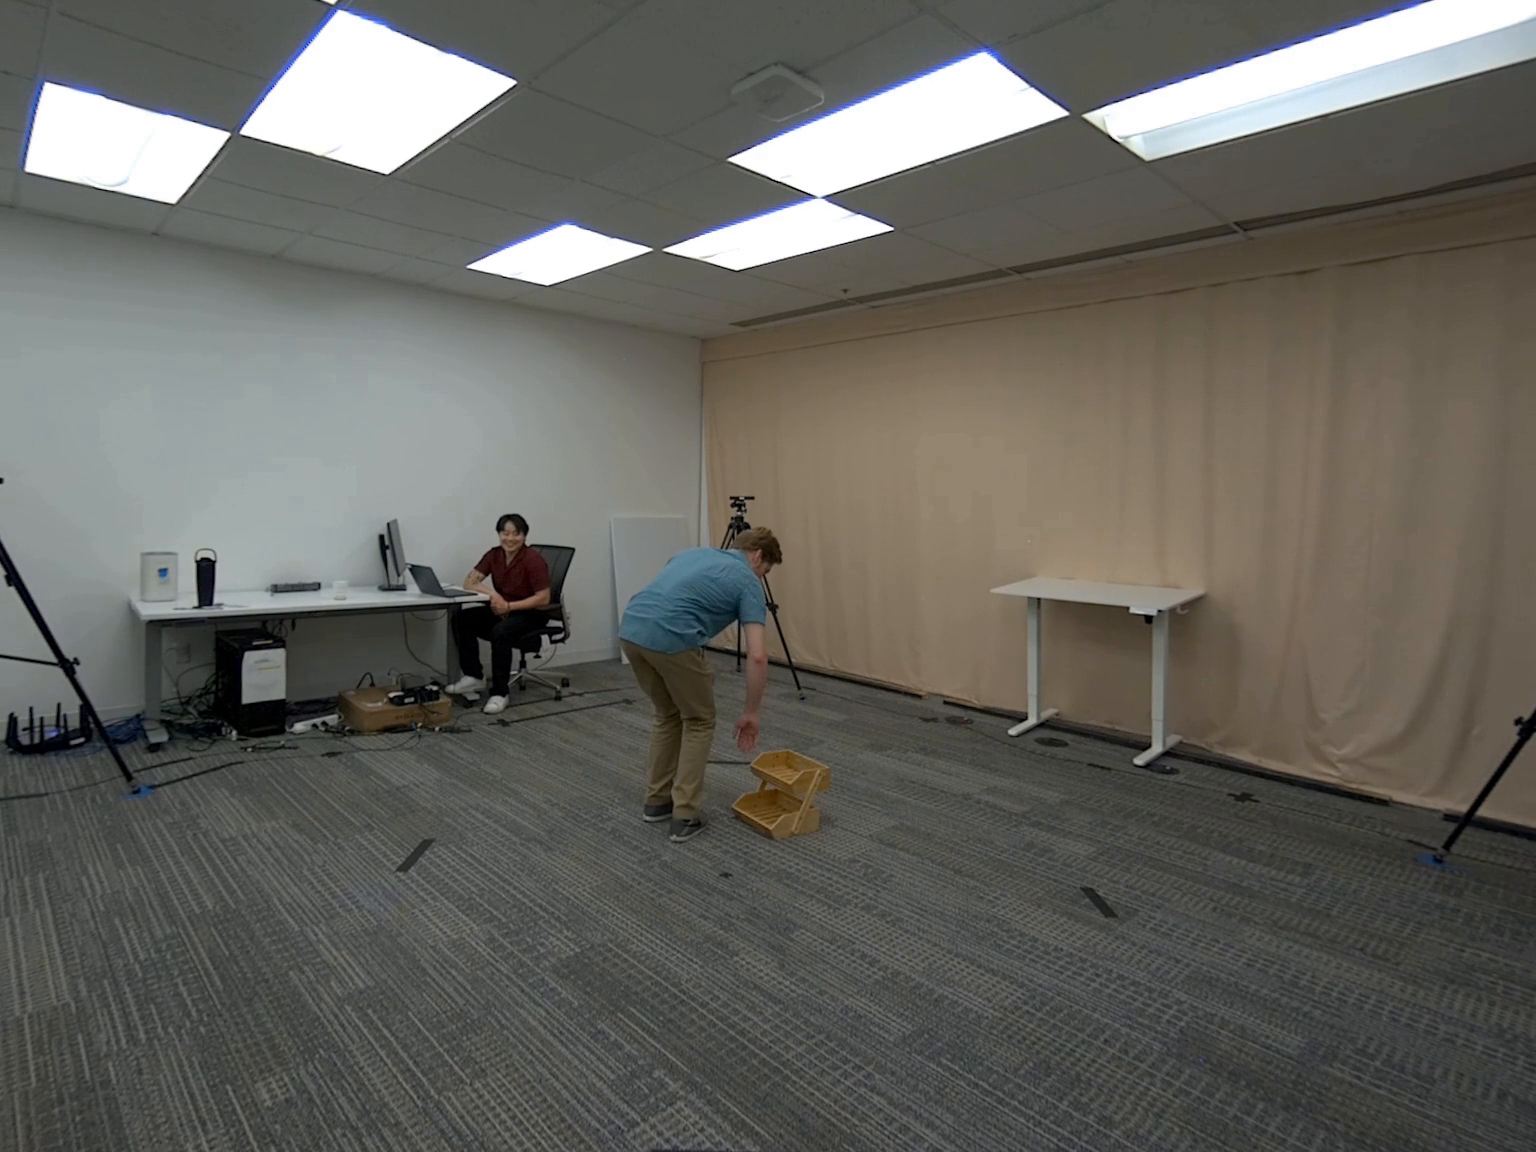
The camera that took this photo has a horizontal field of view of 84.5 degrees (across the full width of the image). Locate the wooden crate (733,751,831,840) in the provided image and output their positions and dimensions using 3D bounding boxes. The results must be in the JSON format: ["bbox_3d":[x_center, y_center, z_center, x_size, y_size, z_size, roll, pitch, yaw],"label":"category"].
[{"bbox_3d":[0.037,0.928,3.633,0.295,0.273,0.332,0,4,-35],"label":"wooden crate"}]
